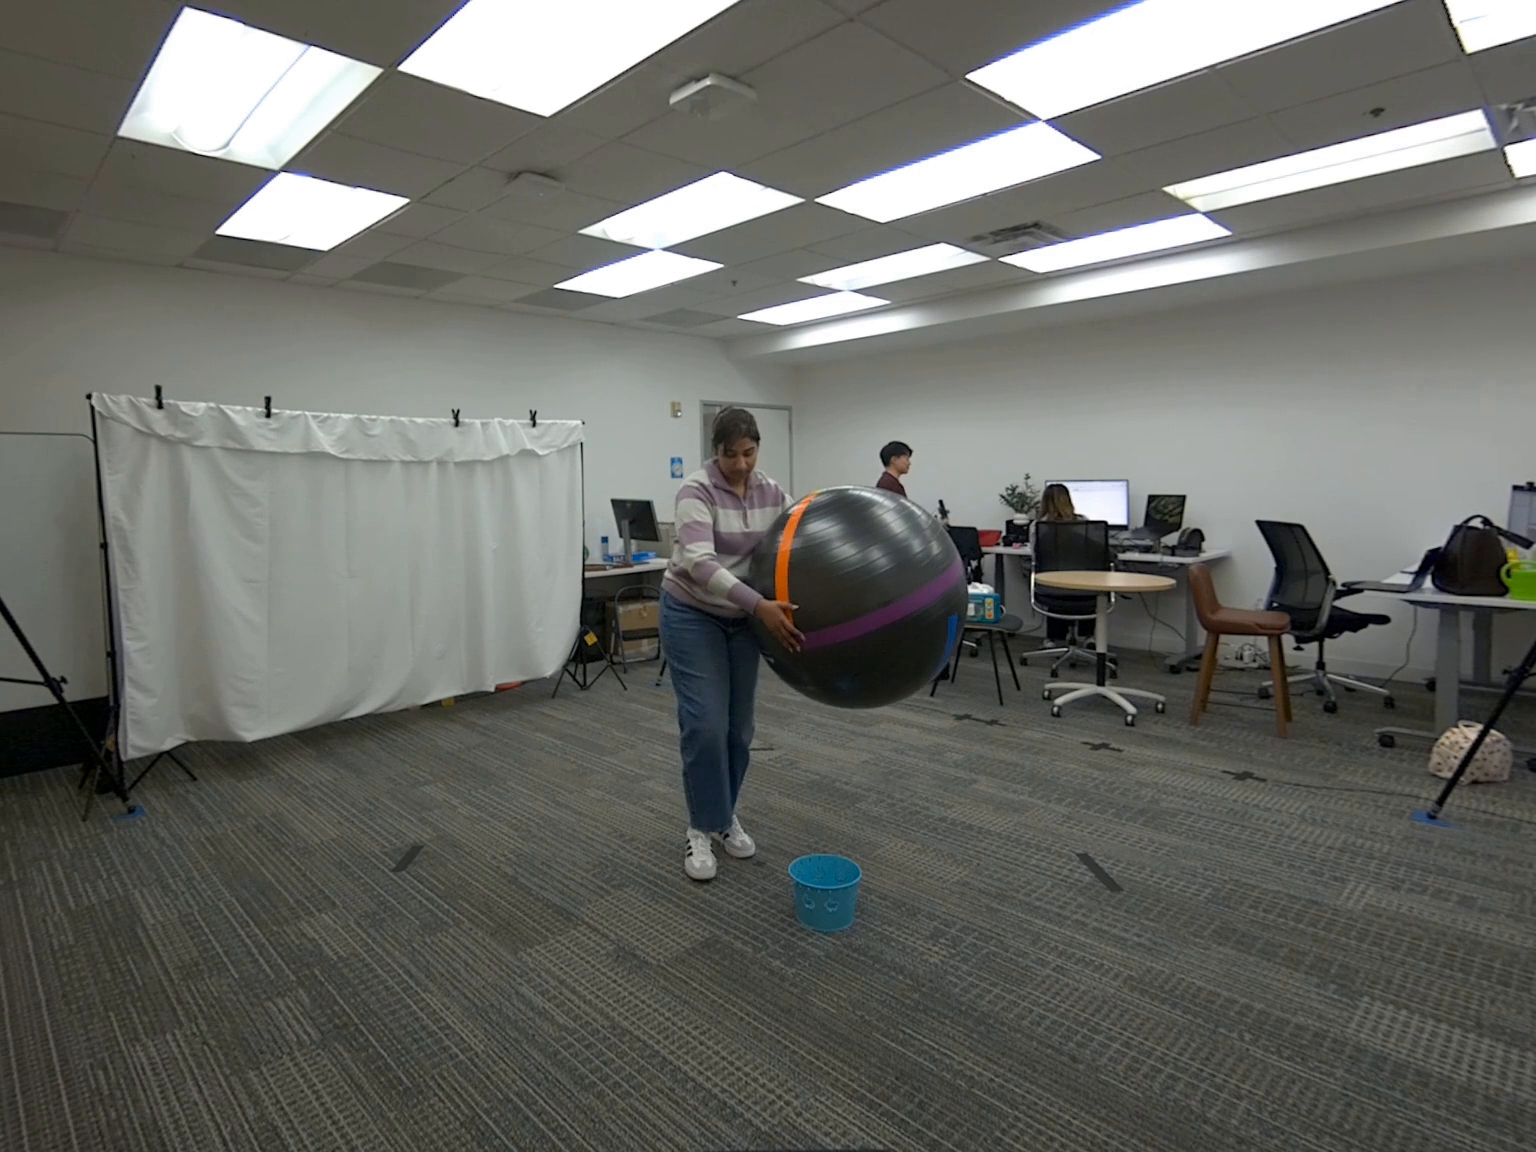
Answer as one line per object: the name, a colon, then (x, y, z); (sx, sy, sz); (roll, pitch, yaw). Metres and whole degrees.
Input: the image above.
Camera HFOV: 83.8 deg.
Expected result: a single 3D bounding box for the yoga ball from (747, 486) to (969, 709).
yoga ball: (0.299, 0.073, 2.933); (0.757, 0.755, 0.762); (-1, 5, -2)
